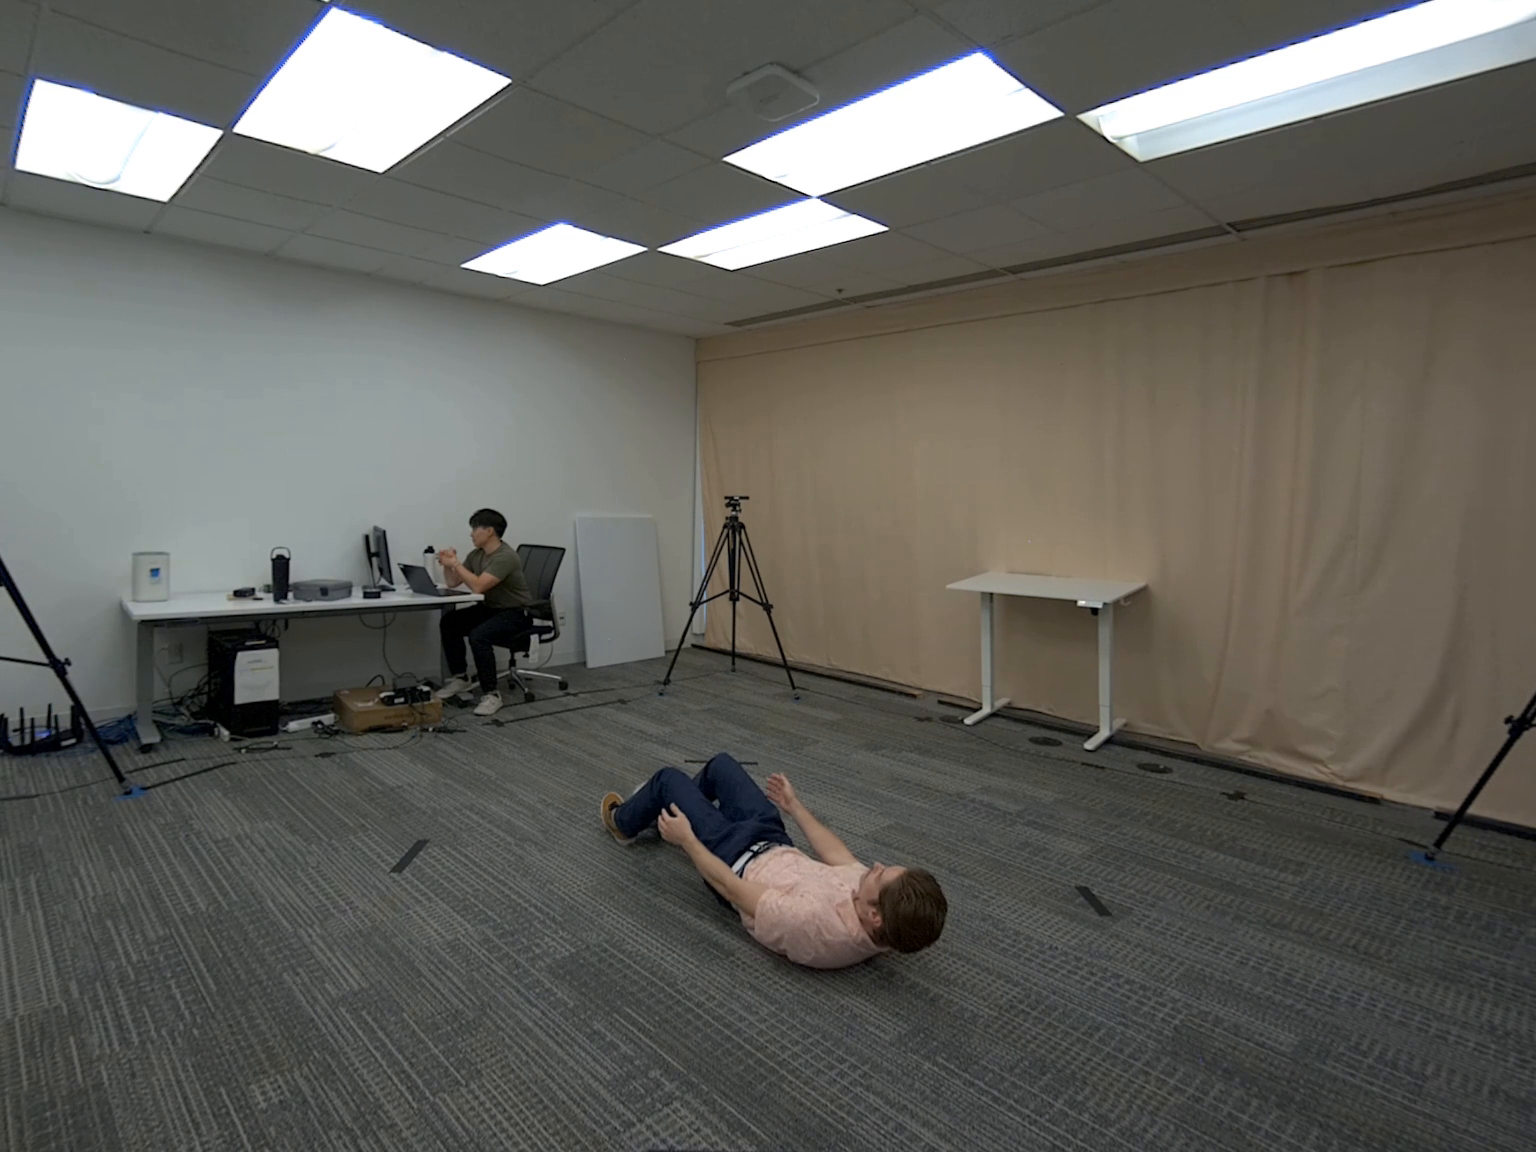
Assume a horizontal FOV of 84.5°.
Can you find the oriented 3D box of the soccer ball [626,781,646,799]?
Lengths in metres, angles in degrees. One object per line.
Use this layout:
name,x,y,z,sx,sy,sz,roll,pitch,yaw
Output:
soccer ball,-0.466,0.923,3.405,0.187,0.187,0.188,1,4,-1
